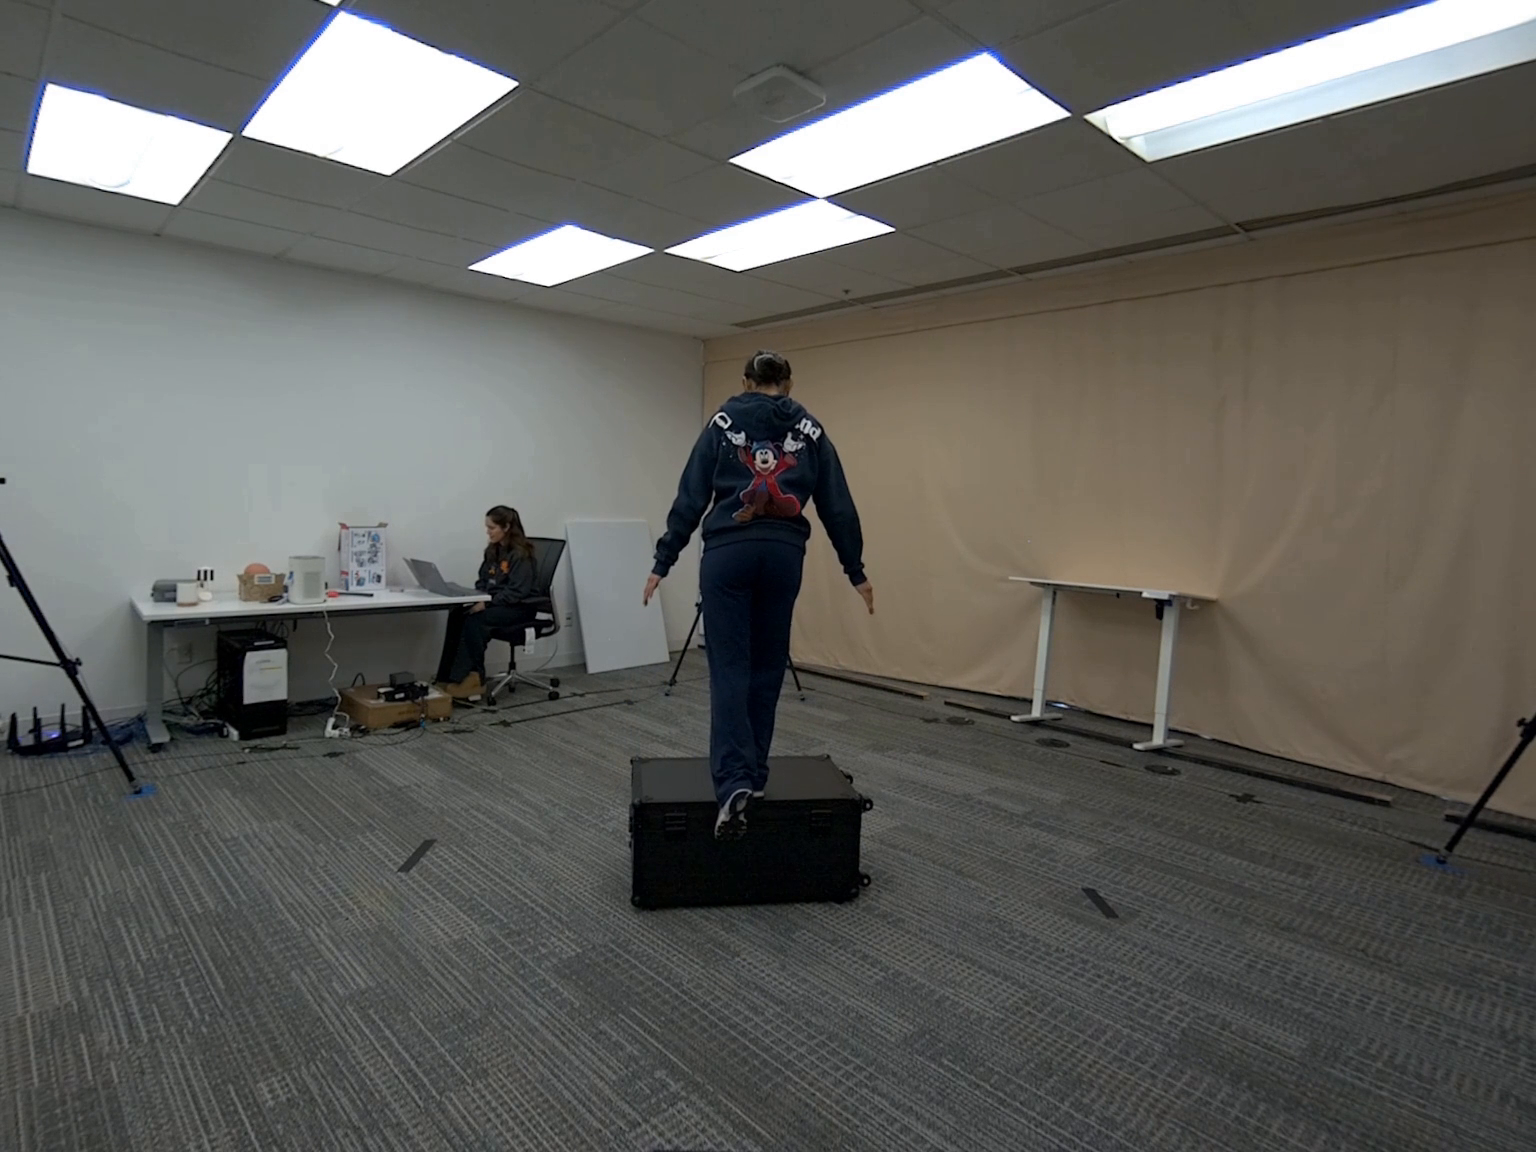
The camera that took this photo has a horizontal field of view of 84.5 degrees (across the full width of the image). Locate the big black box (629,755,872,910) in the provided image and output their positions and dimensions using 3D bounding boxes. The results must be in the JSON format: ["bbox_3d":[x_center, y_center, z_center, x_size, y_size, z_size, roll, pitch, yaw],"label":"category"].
[{"bbox_3d":[-0.077,0.920,3.090,0.855,0.395,0.526,0,5,-9],"label":"big black box"}]
